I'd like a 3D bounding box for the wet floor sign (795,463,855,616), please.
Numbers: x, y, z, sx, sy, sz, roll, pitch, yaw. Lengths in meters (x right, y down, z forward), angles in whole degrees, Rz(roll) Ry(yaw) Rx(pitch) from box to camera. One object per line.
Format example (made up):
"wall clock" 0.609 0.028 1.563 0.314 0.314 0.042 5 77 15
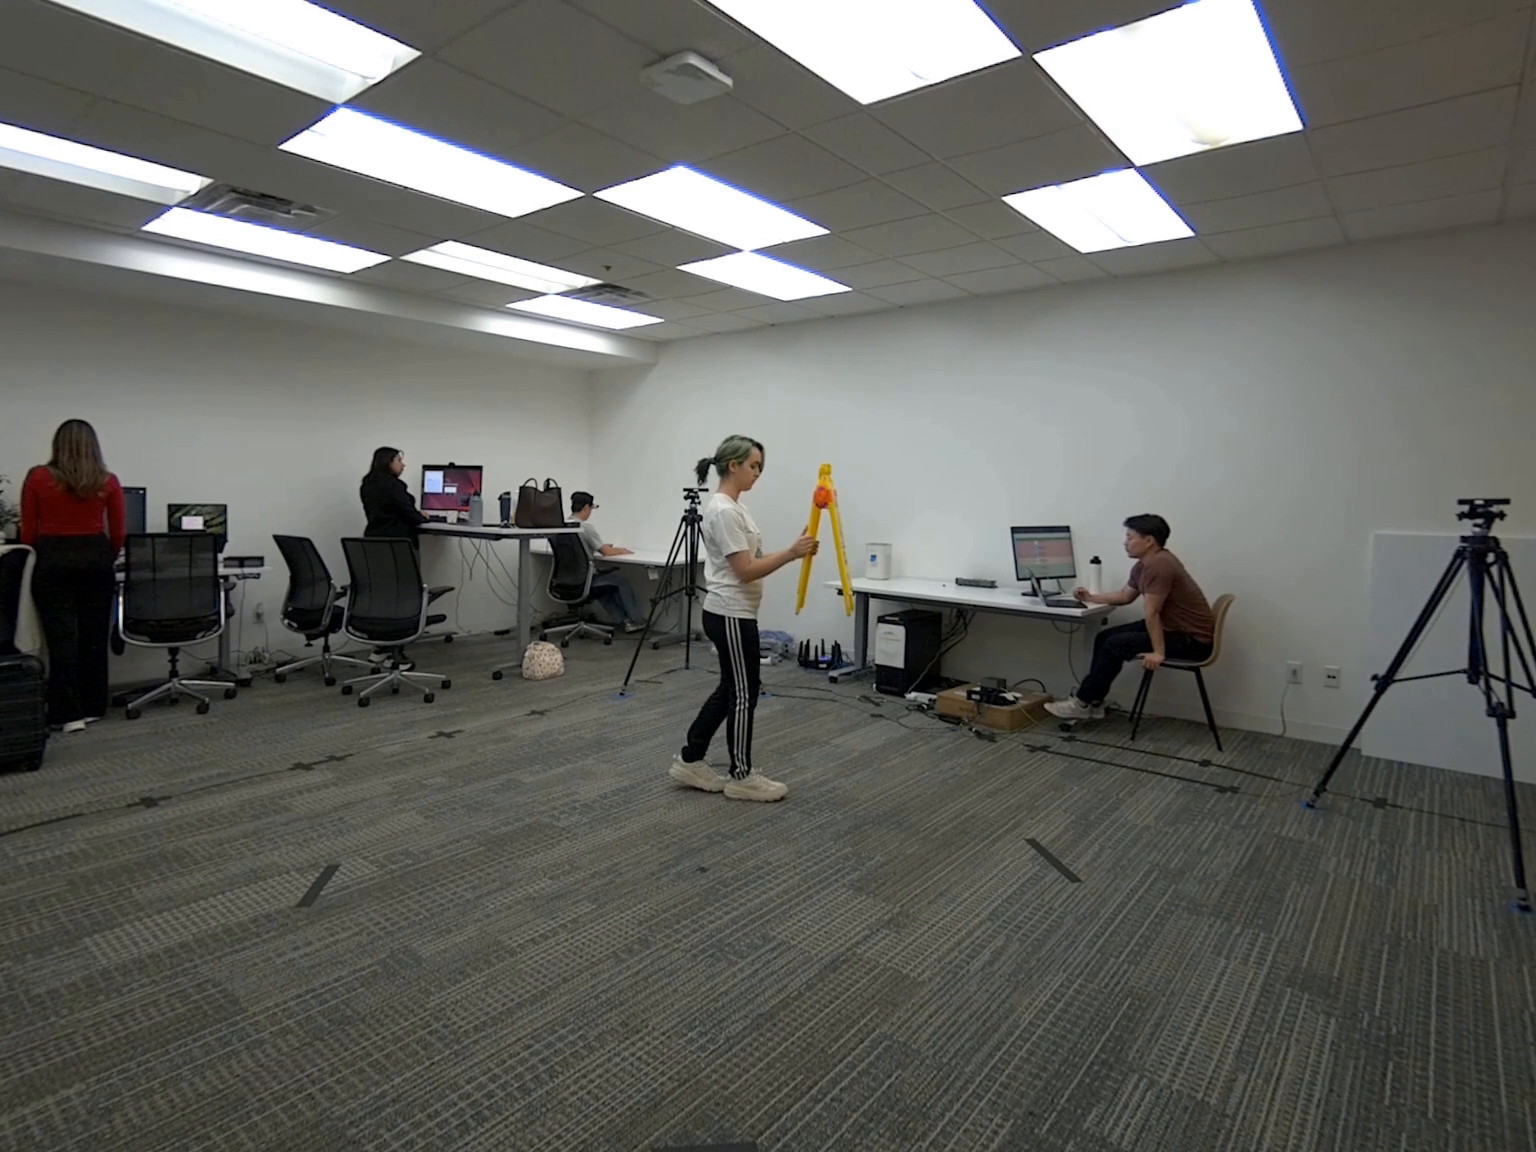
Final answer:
"wet floor sign" 0.247 -0.173 3.743 0.293 0.644 0.280 1 4 10
